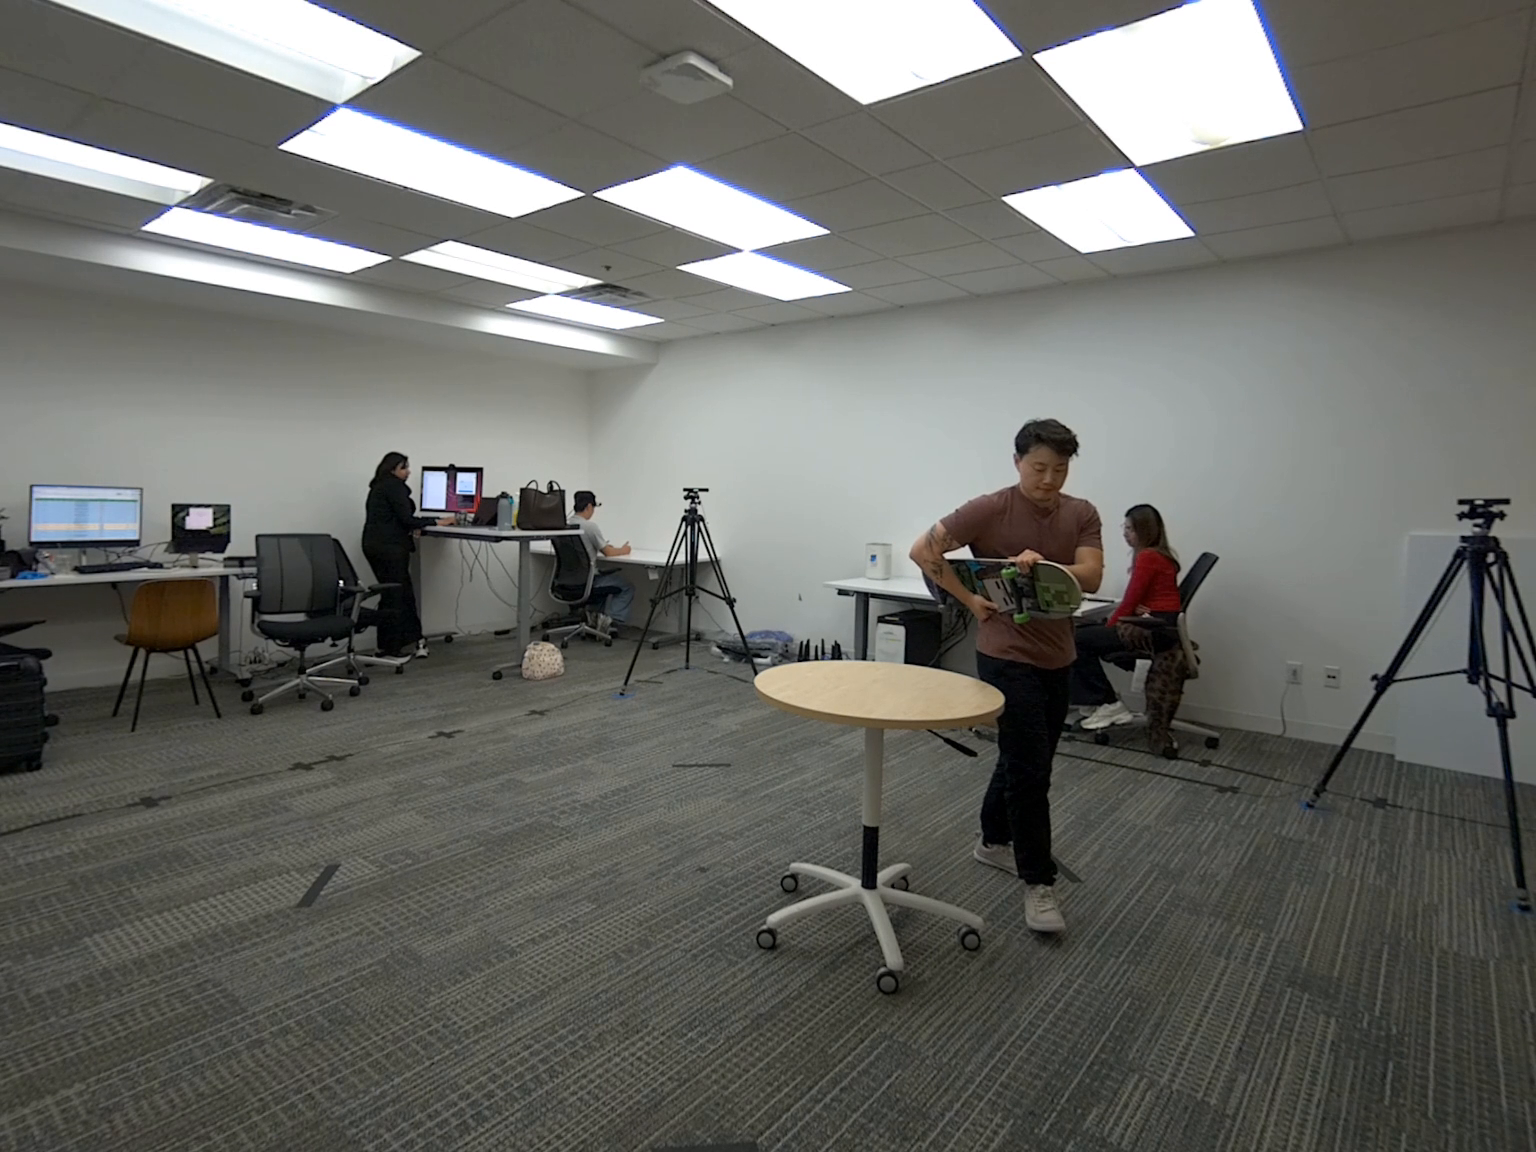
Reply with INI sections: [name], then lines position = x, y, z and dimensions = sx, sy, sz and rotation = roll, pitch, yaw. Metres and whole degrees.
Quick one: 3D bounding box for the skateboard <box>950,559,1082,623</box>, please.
[skateboard]
position = 0.734, 0.049, 2.921
dimensions = 0.109, 0.192, 0.804
rotation = -20, 10, -23
